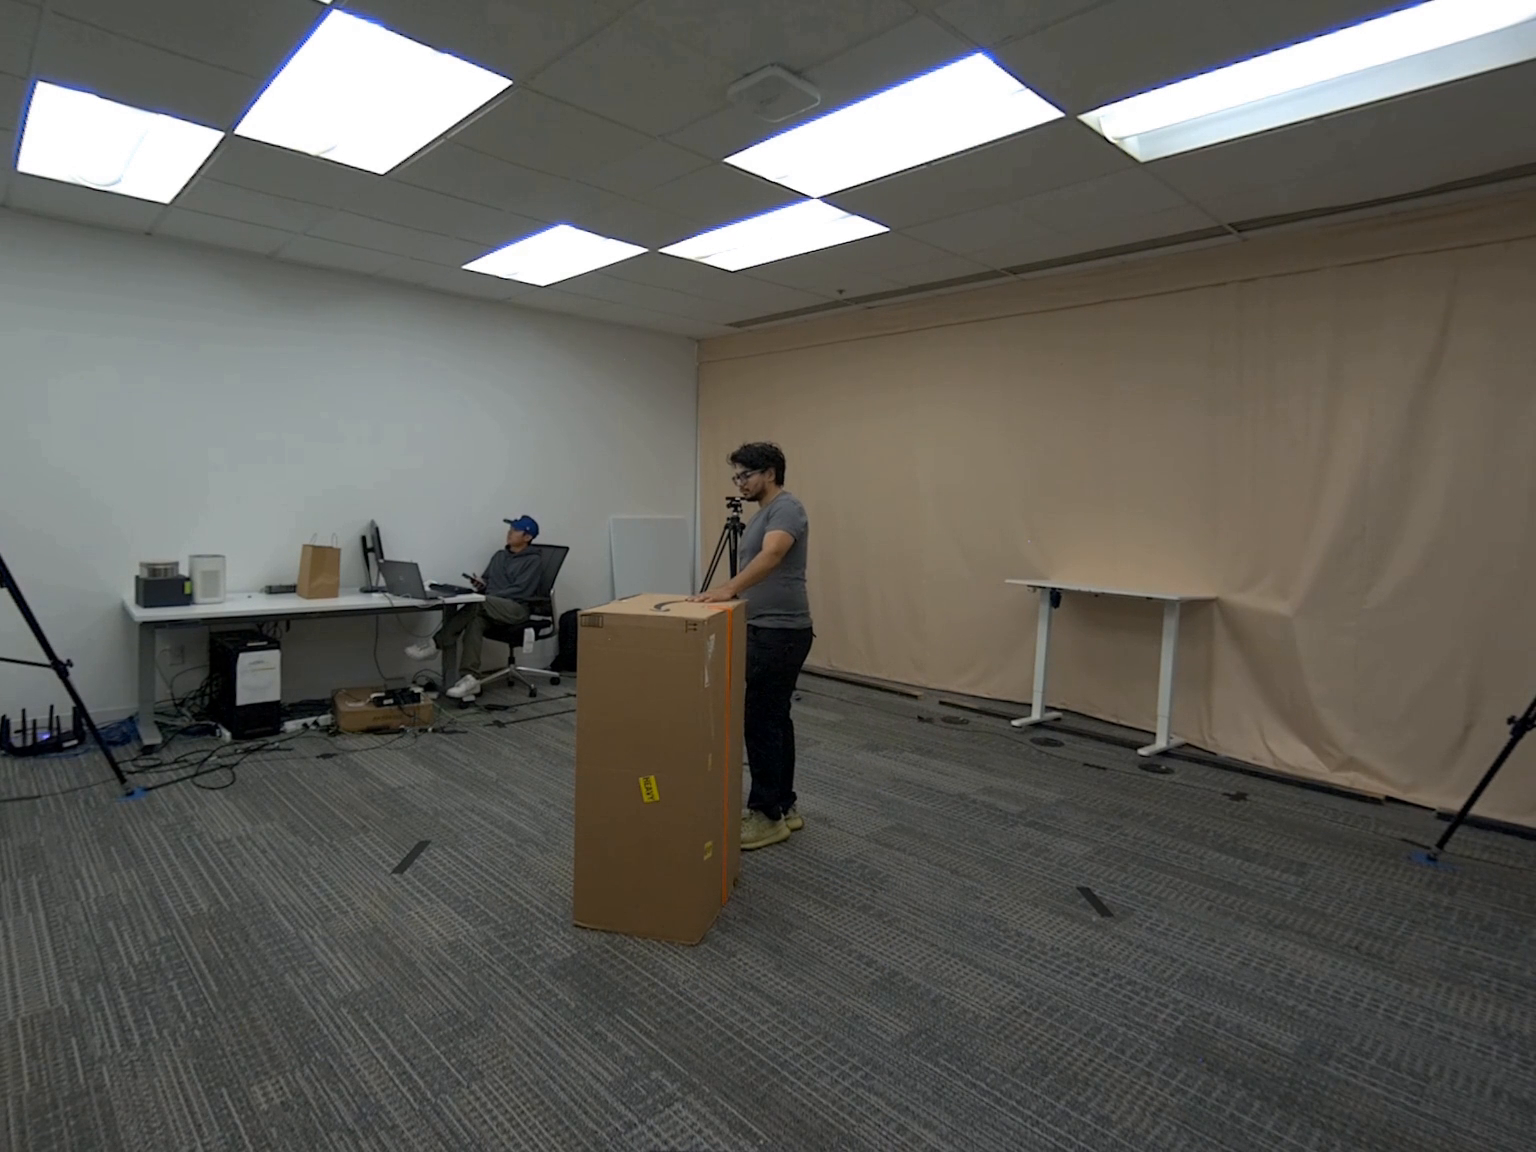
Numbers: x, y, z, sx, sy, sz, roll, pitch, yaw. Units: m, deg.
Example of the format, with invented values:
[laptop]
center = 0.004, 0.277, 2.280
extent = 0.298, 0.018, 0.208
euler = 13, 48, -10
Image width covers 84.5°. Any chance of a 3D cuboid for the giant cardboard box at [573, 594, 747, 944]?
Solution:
[giant cardboard box]
center = -0.358, 0.609, 2.910
extent = 0.431, 1.024, 0.572
euler = 2, 3, 13
